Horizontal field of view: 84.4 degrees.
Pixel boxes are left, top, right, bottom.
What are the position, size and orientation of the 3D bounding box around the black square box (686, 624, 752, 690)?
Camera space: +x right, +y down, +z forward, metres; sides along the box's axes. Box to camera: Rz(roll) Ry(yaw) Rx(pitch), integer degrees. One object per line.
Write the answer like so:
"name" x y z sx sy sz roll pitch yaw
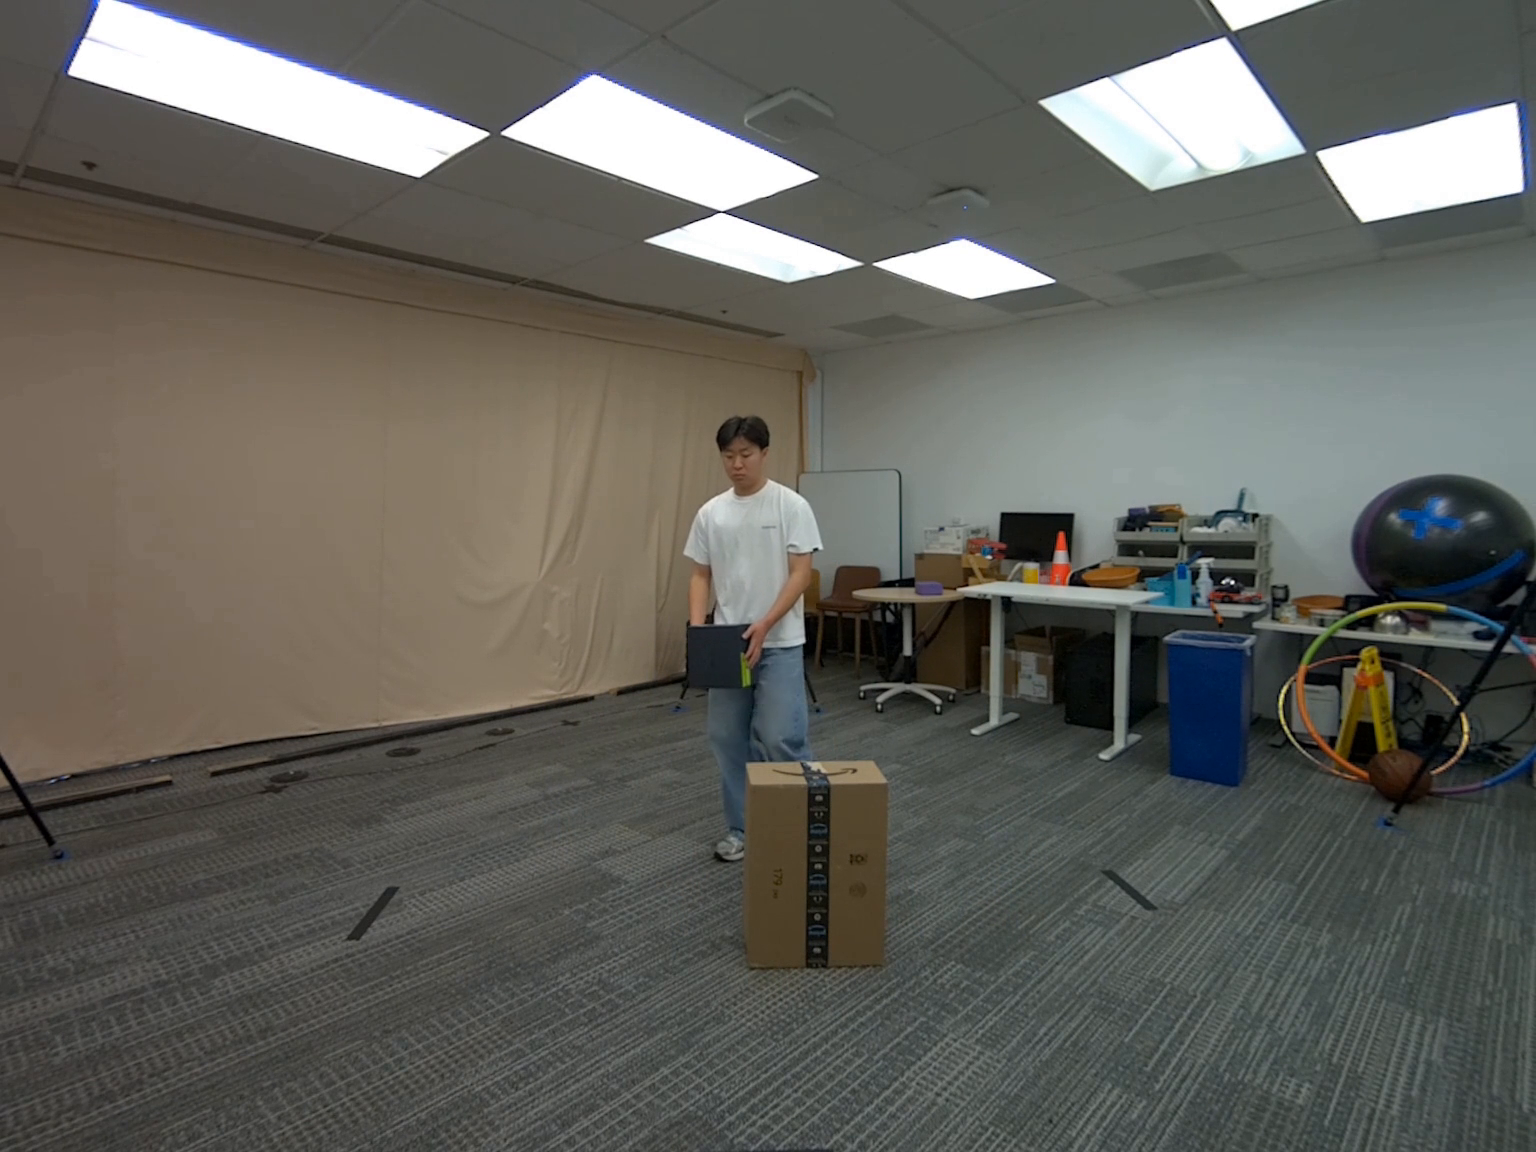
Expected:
"black square box" -0.167 0.294 3.153 0.222 0.228 0.152 -2 0 26
